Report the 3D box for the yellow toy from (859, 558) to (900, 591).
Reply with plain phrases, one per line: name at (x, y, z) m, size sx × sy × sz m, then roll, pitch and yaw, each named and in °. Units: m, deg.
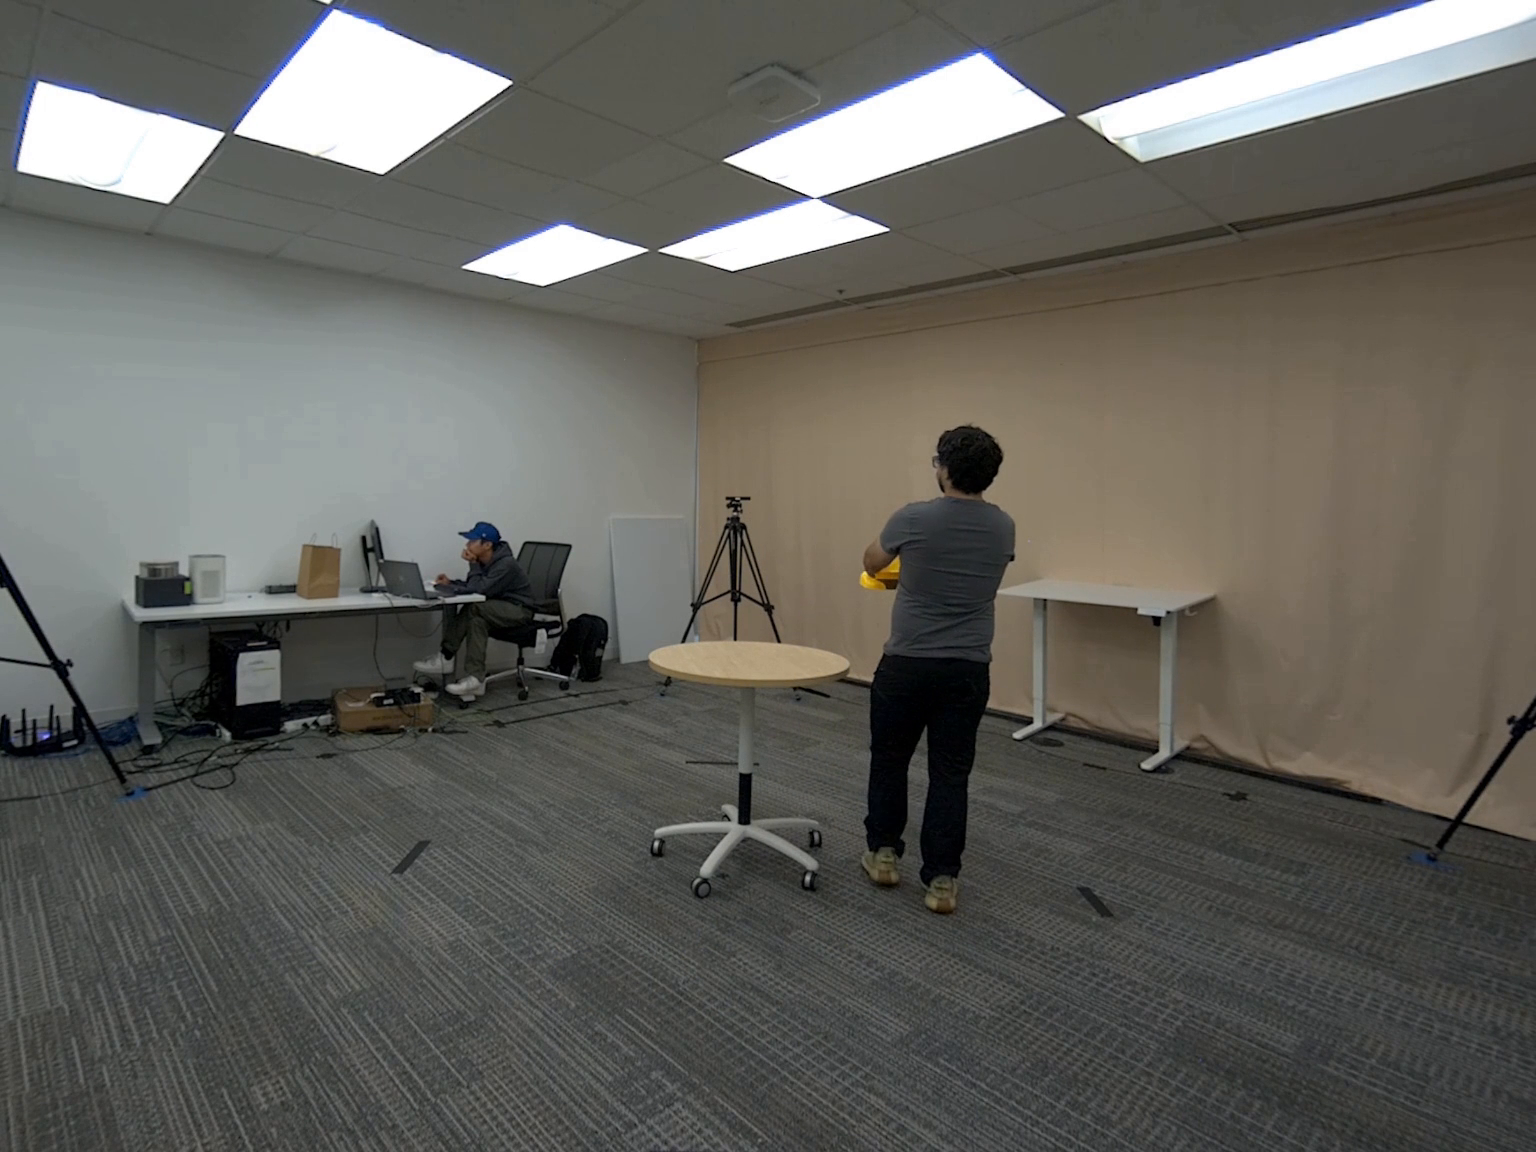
yellow toy at (0.489, -0.070, 3.527) m, size 0.203 × 0.229 × 0.196 m, roll 0°, pitch 12°, yaw -14°
